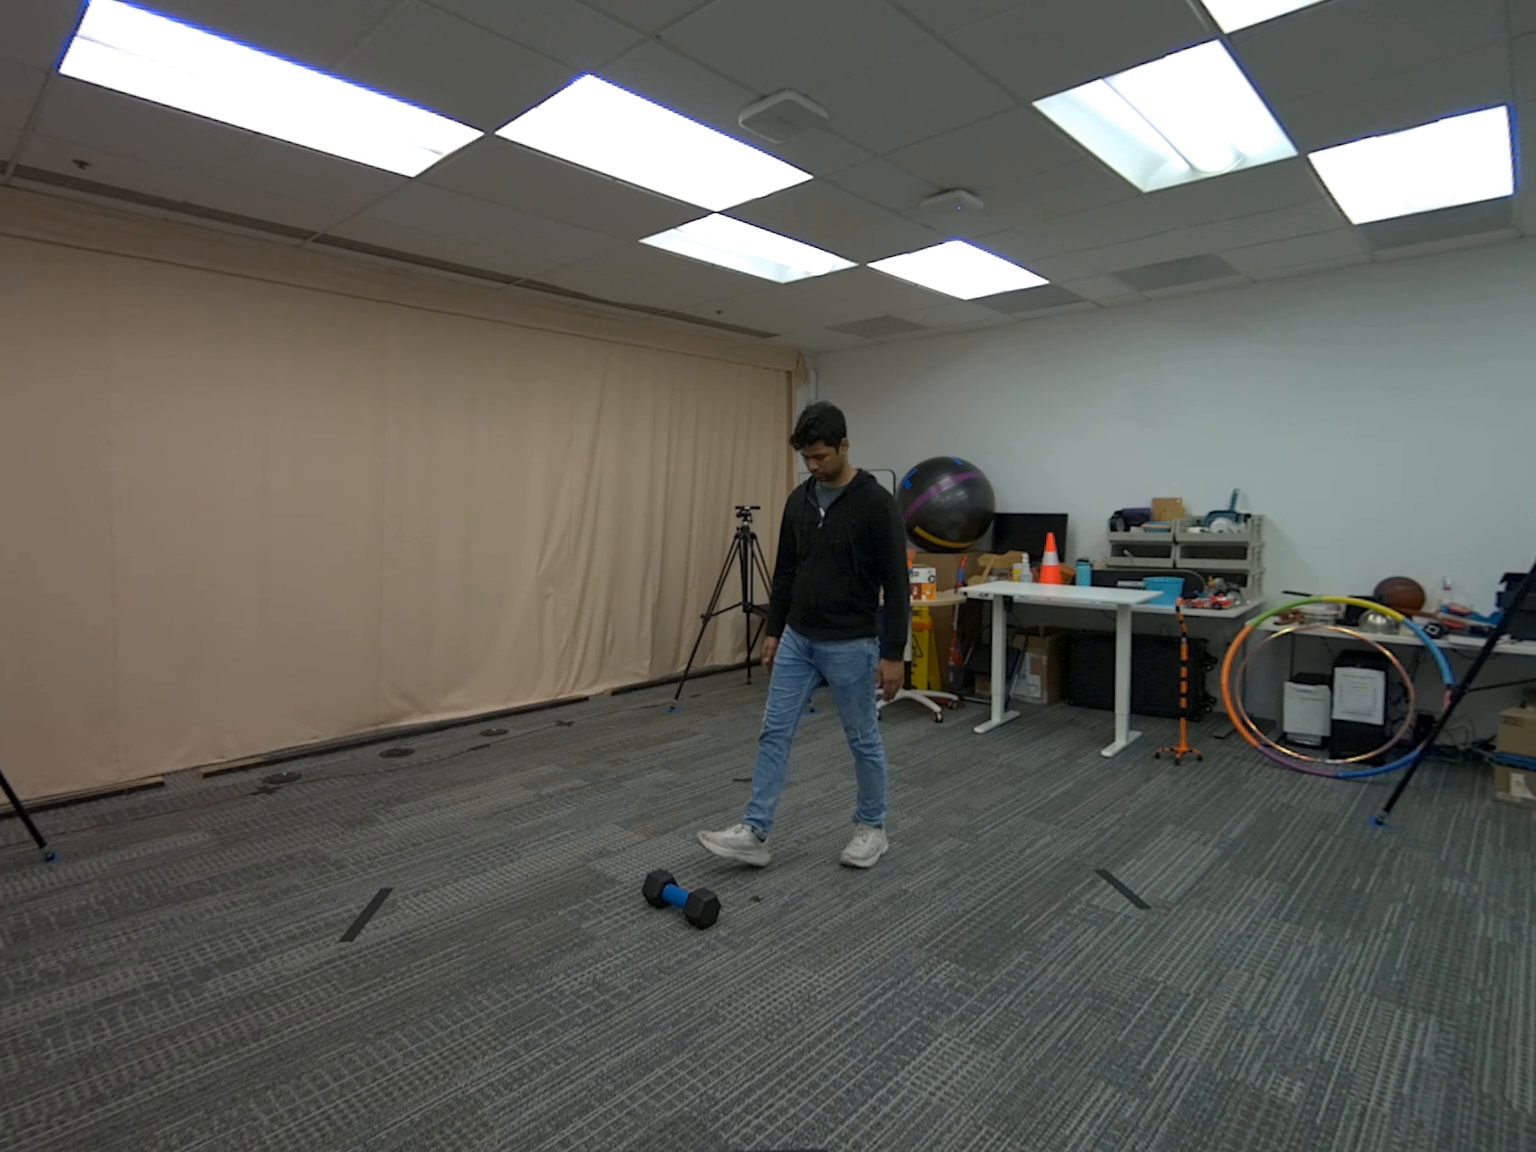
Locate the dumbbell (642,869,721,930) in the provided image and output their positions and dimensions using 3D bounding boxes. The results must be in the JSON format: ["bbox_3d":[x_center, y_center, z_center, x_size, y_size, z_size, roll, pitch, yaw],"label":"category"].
[{"bbox_3d":[-0.295,1.100,2.872,0.303,0.123,0.105,4,-22,43],"label":"dumbbell"}]
